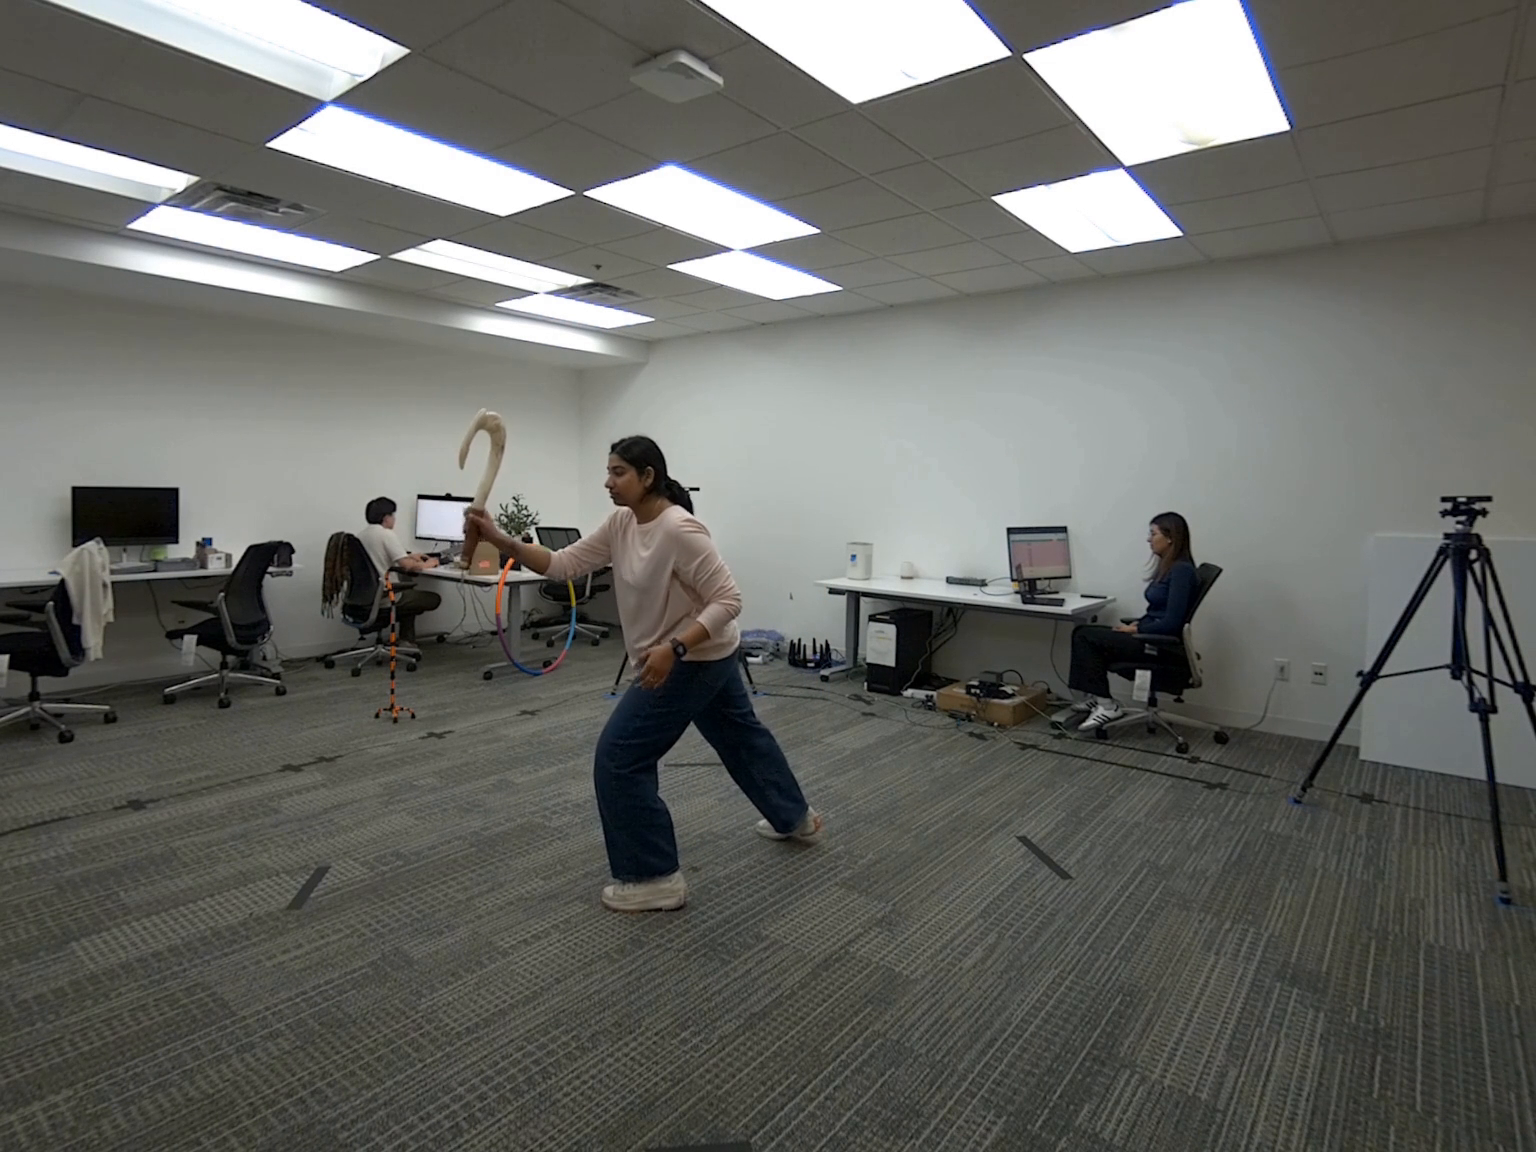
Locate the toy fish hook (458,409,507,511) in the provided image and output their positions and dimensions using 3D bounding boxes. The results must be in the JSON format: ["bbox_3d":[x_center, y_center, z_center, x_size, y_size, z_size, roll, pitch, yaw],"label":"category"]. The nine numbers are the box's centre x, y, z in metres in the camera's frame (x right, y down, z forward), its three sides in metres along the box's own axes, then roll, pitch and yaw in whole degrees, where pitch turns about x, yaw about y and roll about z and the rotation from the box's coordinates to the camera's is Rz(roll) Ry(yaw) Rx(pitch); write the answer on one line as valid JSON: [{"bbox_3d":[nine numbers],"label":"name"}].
[{"bbox_3d":[-0.935,-0.271,2.647,0.049,0.506,0.220,12,1,16],"label":"toy fish hook"}]
